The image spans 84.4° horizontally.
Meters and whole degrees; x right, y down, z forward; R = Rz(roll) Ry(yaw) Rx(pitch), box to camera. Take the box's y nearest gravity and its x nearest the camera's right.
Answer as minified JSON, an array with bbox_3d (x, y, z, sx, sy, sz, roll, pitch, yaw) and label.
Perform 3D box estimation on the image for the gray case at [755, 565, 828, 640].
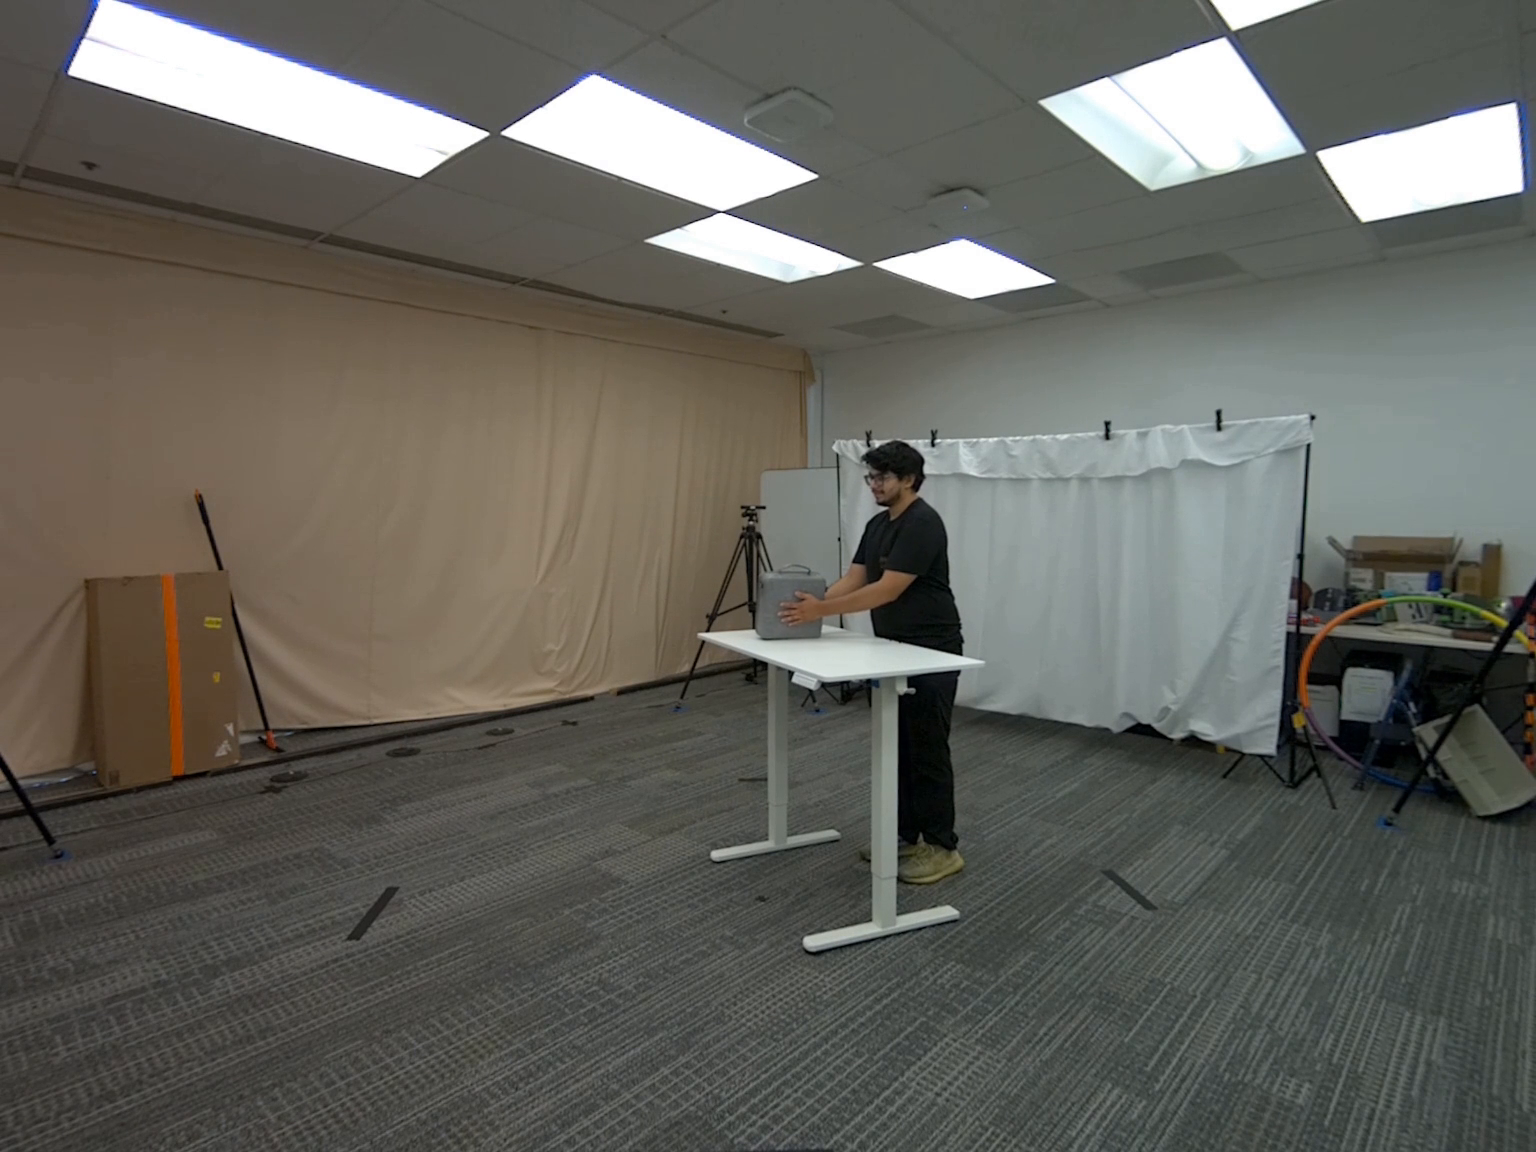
[{"bbox_3d":[0.094,0.112,3.236,0.255,0.259,0.106,1,10,-8],"label":"gray case"}]
